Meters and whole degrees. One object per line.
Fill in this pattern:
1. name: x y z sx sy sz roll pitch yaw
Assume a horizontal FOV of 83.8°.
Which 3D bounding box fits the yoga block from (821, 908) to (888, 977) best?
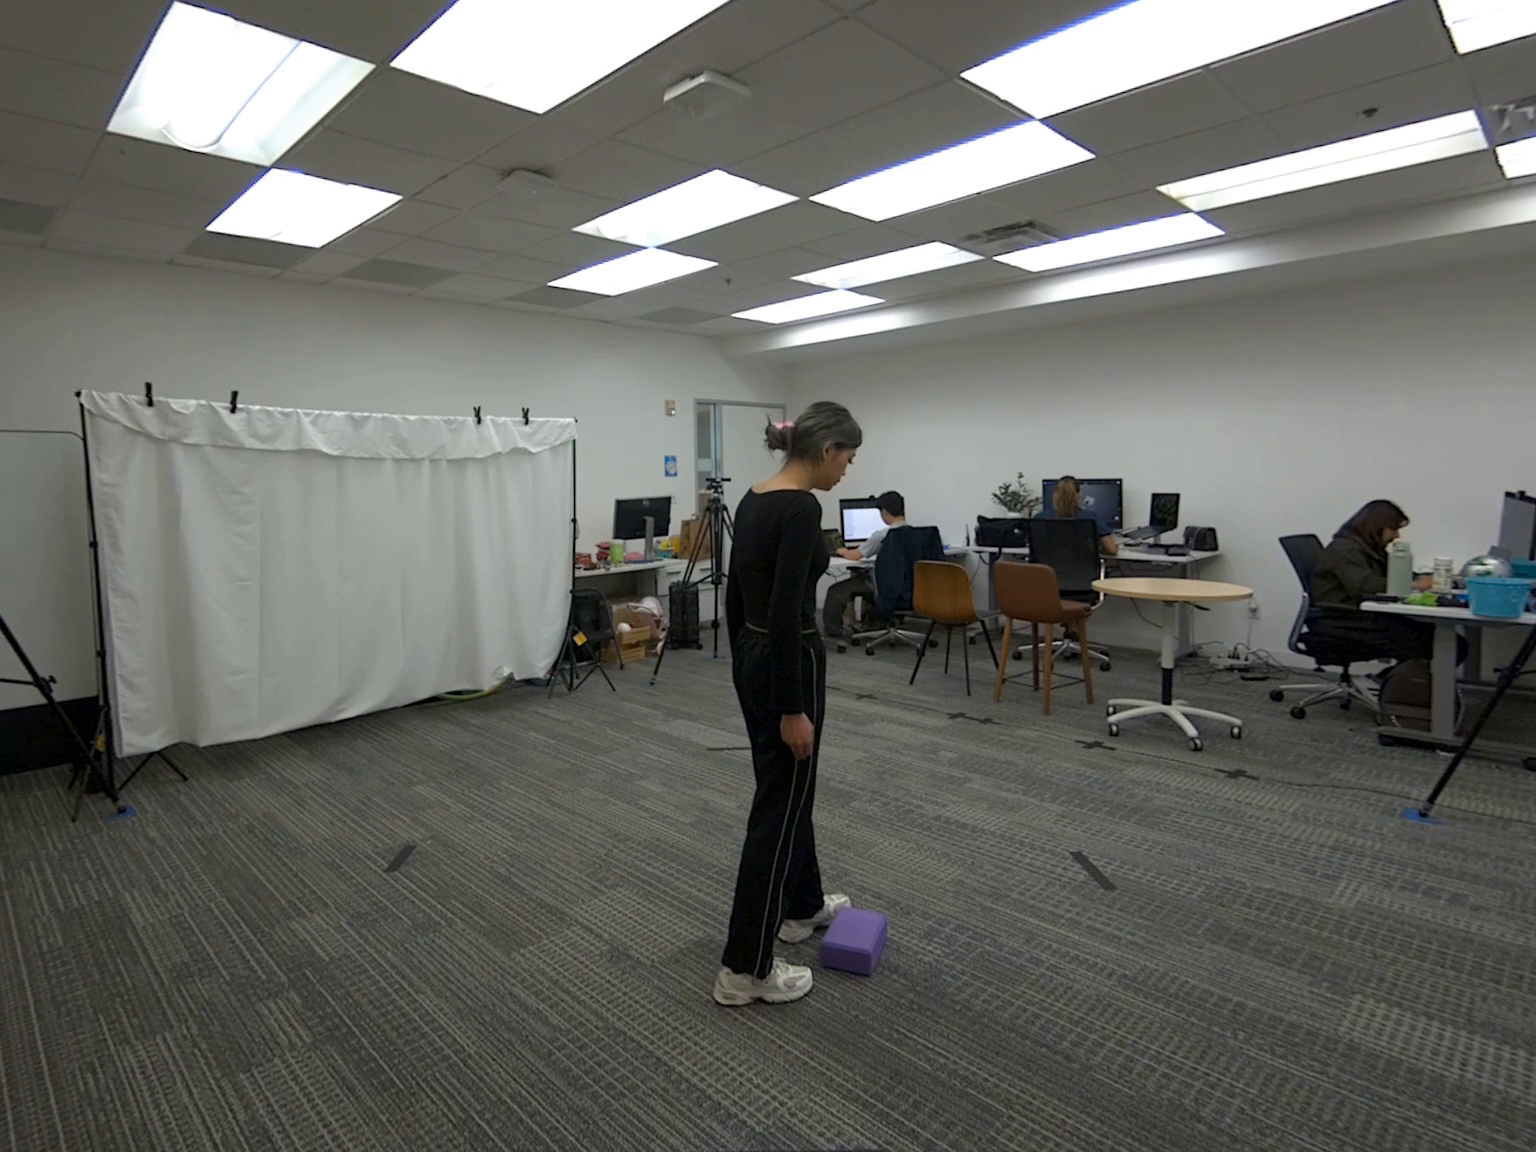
1. yoga block: 0.254 1.064 2.513 0.152 0.076 0.226 0 6 20
